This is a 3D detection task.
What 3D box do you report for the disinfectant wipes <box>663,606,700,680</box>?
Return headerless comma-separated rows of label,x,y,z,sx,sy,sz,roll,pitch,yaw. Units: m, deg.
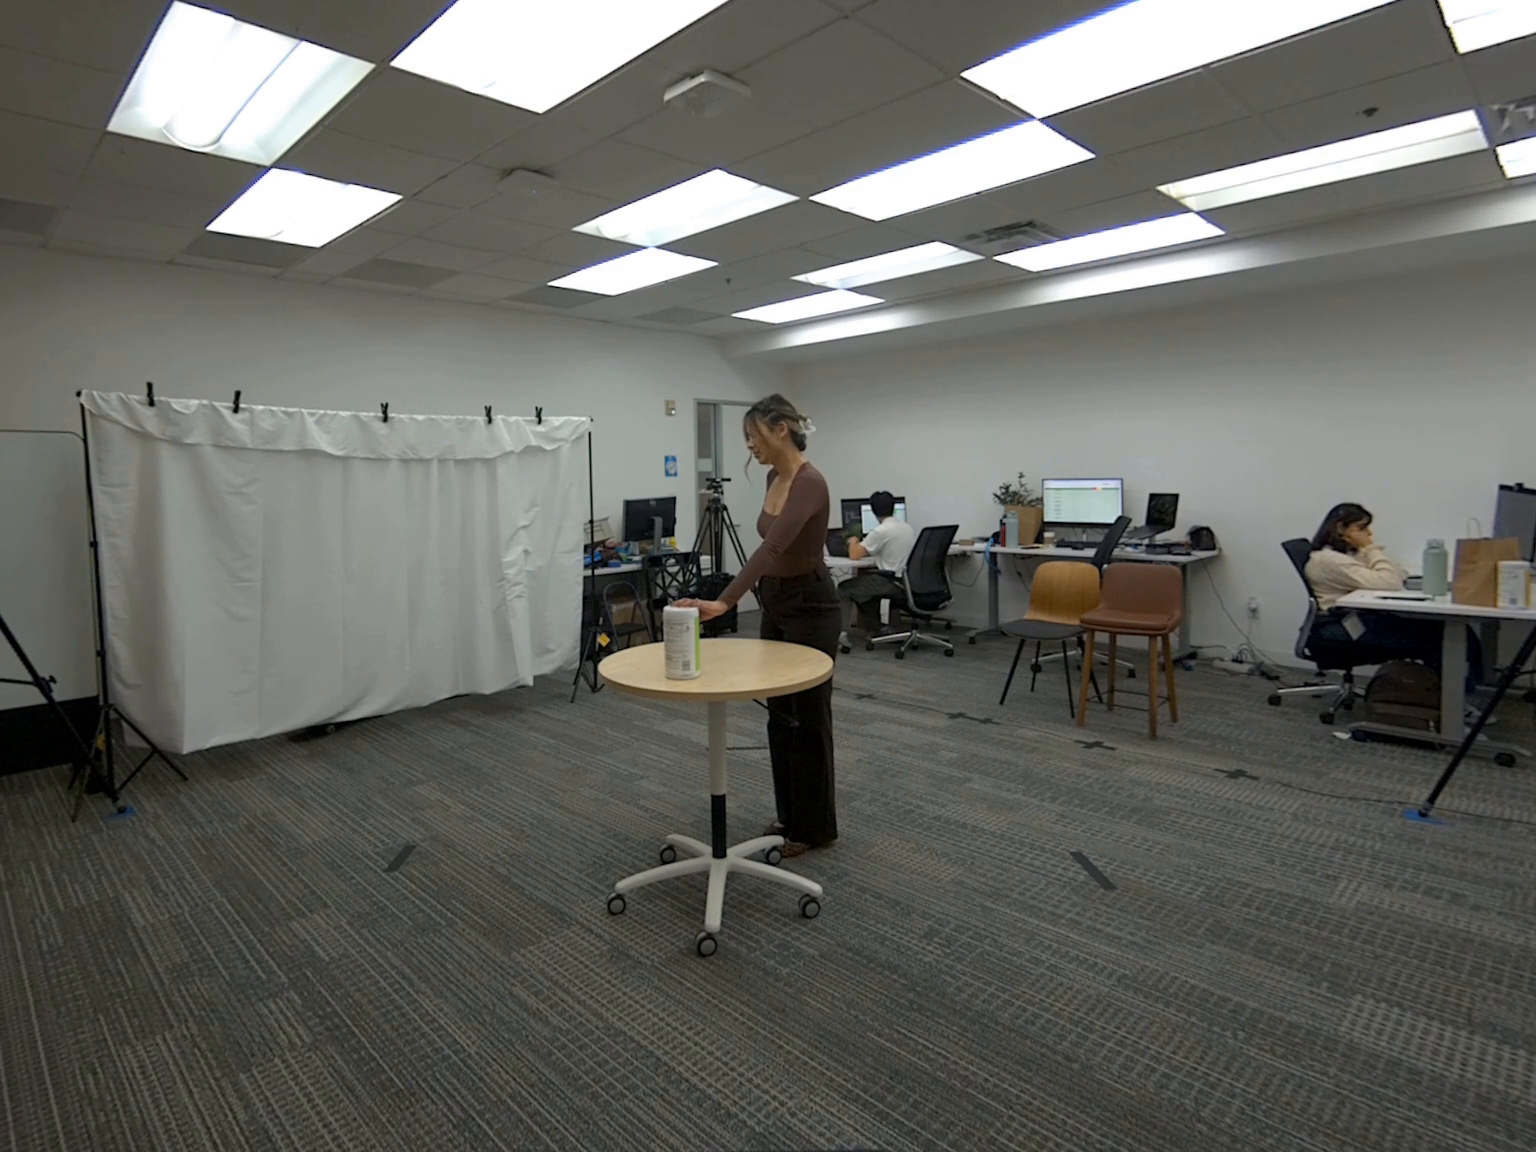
disinfectant wipes,-0.260,0.202,2.612,0.118,0.217,0.118,-1,3,-2
